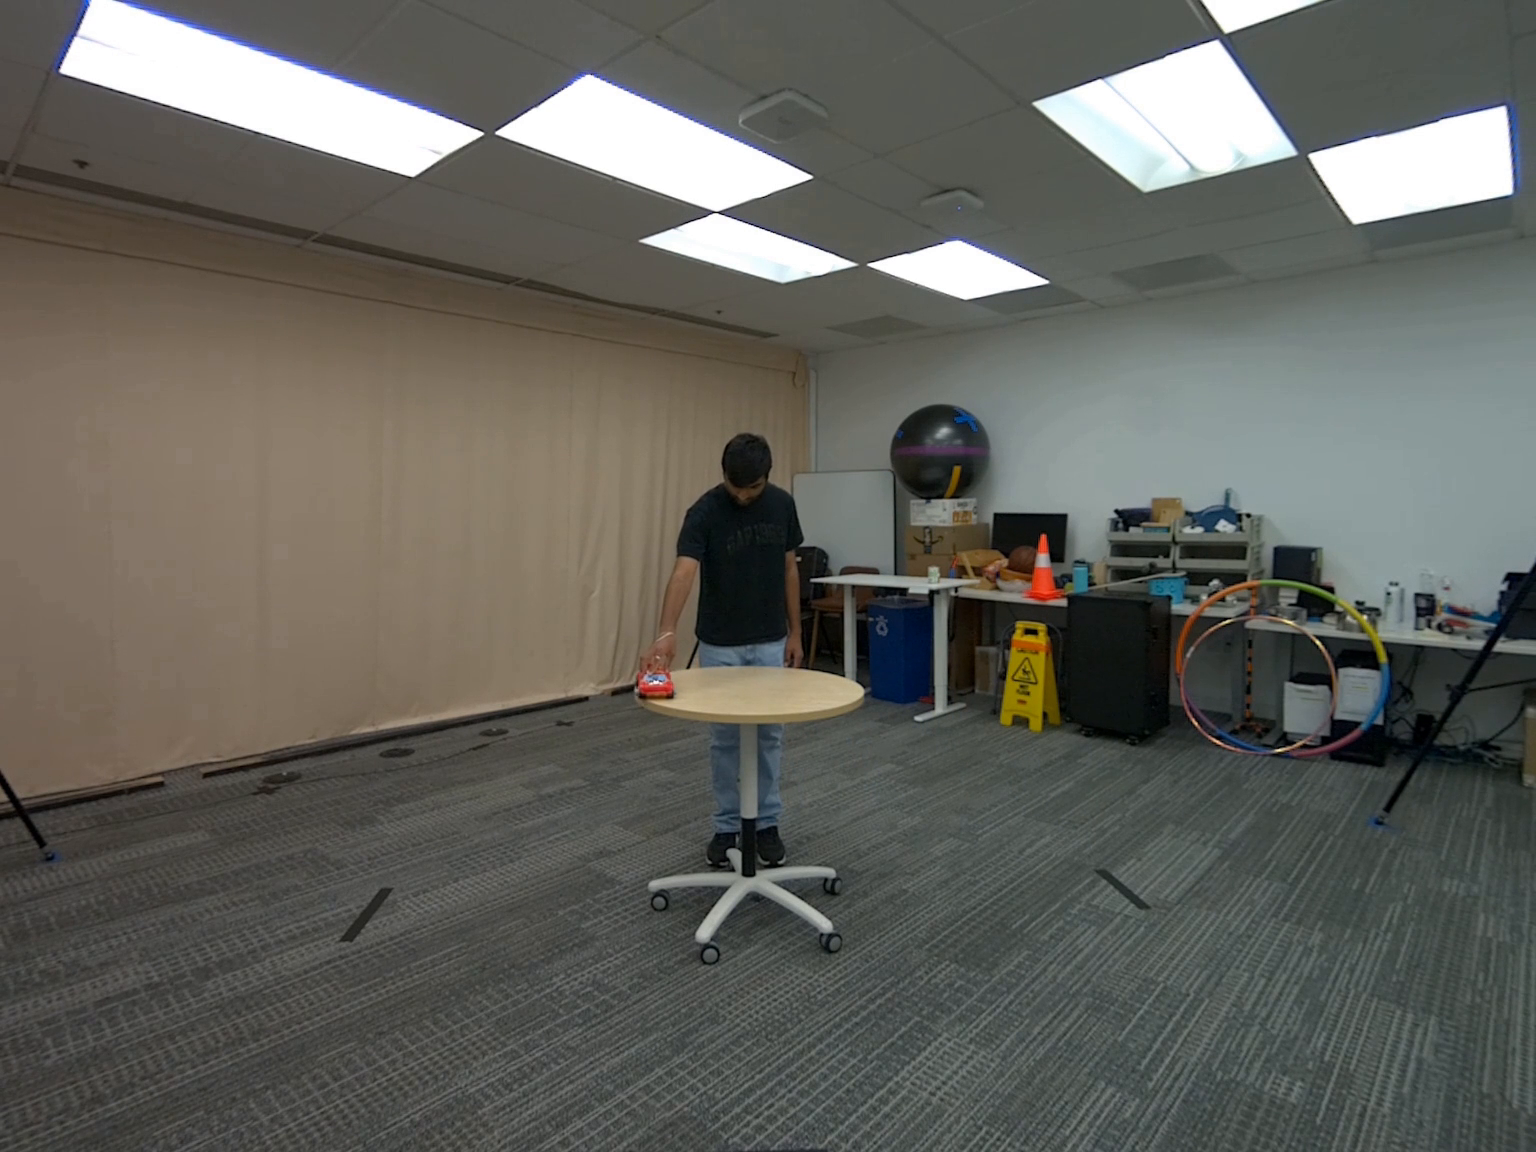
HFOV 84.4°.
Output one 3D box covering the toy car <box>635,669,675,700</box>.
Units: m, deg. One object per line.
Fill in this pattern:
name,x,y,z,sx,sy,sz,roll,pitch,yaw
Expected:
toy car,-0.375,0.352,2.740,0.129,0.082,0.258,0,16,-7
